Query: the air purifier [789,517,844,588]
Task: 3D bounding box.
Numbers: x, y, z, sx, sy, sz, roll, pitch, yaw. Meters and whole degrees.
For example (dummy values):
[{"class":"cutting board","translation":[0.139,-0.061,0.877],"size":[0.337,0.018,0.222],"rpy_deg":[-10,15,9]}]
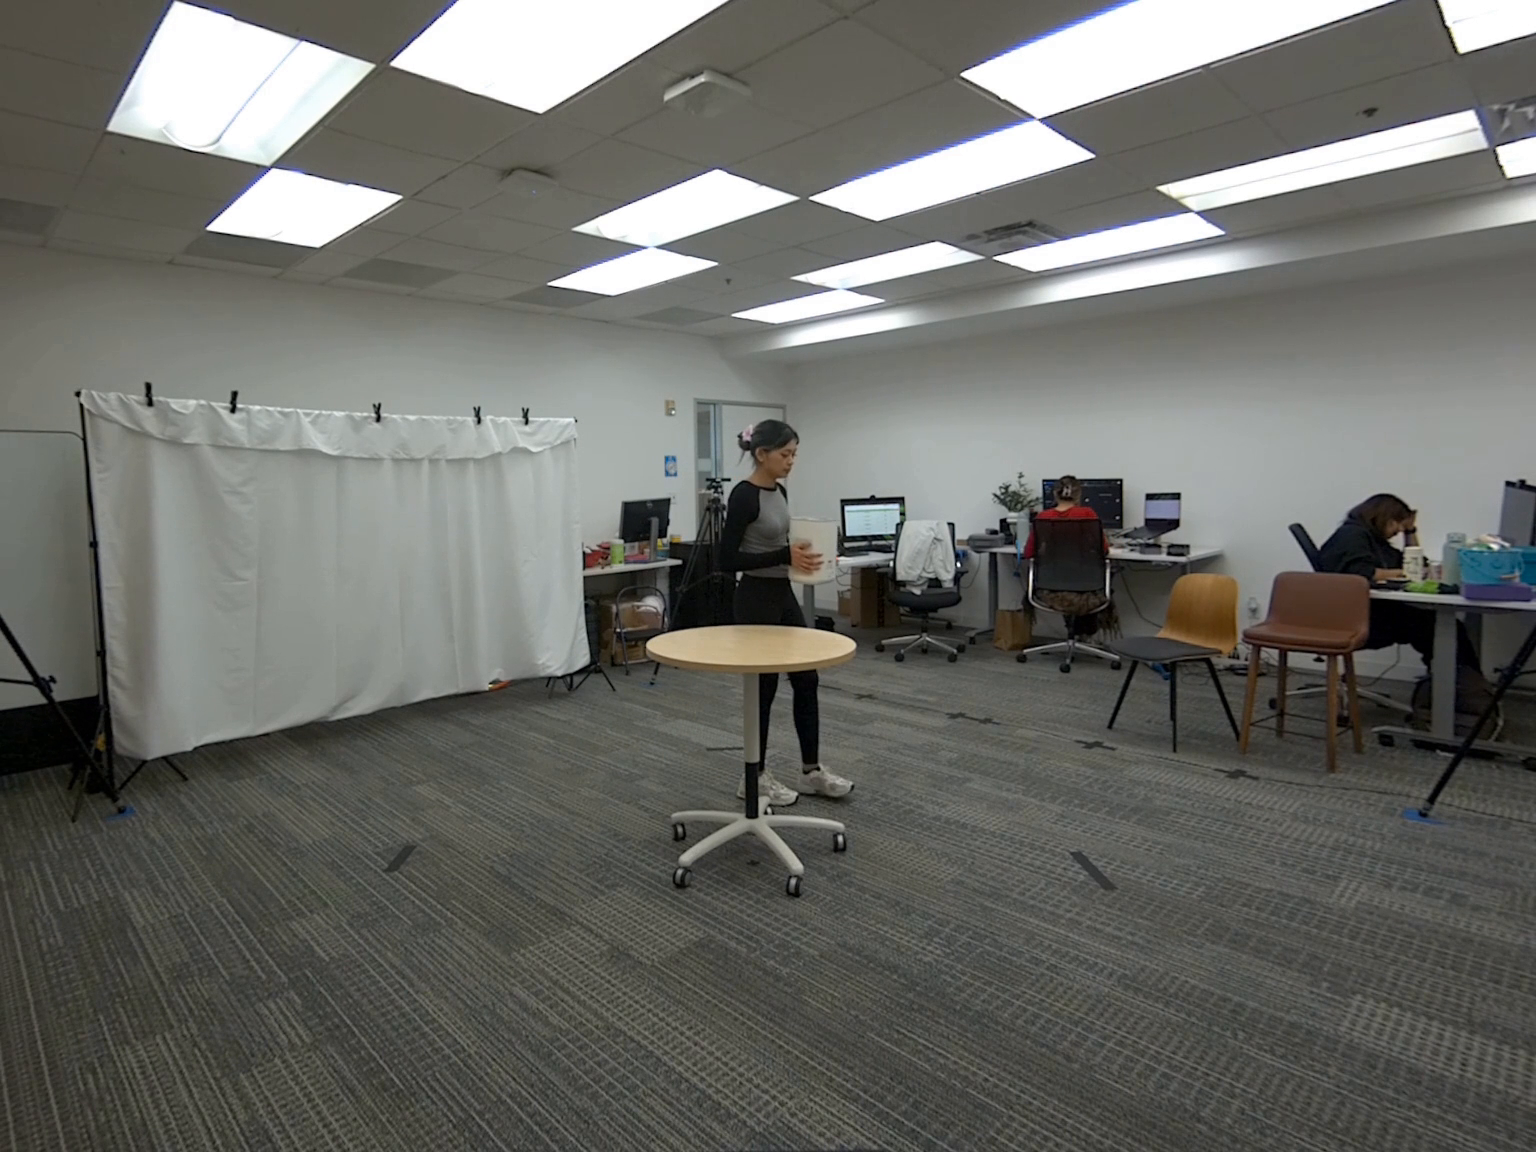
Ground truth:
[{"class":"air purifier","translation":[0.186,-0.103,3.512],"size":[0.176,0.264,0.167],"rpy_deg":[5,6,33]}]
